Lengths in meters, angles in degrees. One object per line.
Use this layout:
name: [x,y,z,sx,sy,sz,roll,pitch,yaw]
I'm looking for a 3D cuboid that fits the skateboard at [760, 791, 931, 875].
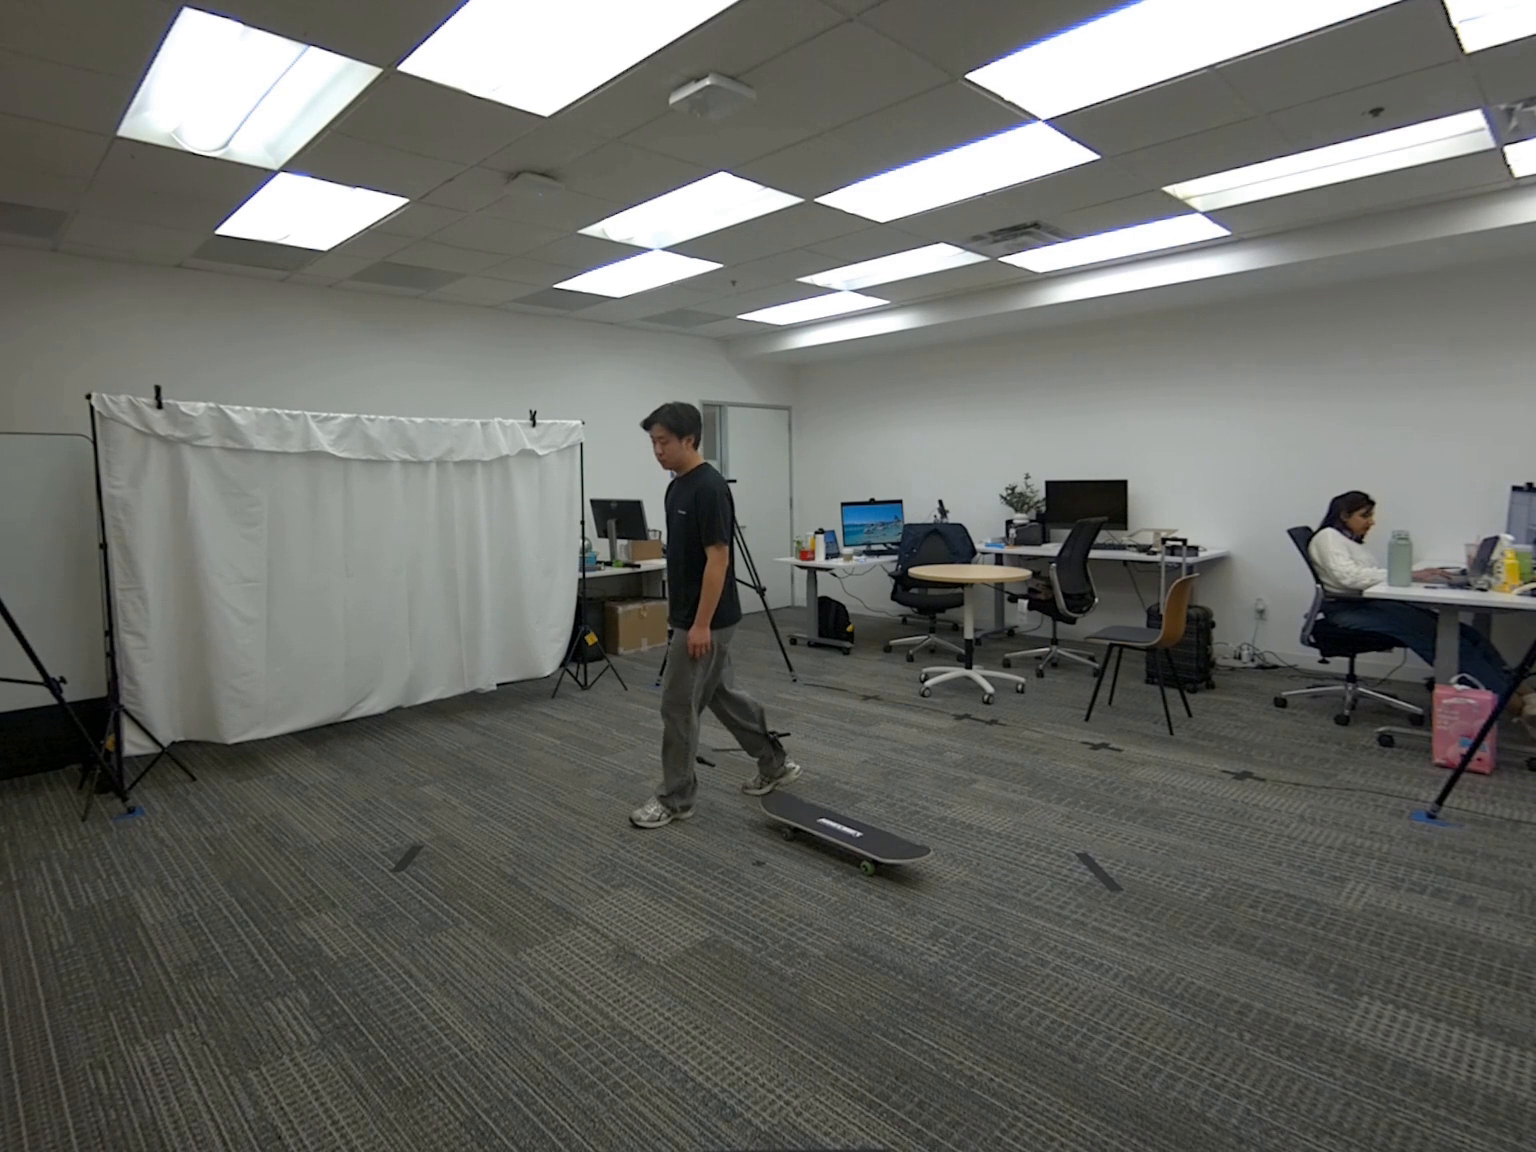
skateboard: [0.273,0.980,3.199,0.188,0.110,0.810,-7,8,-42]
